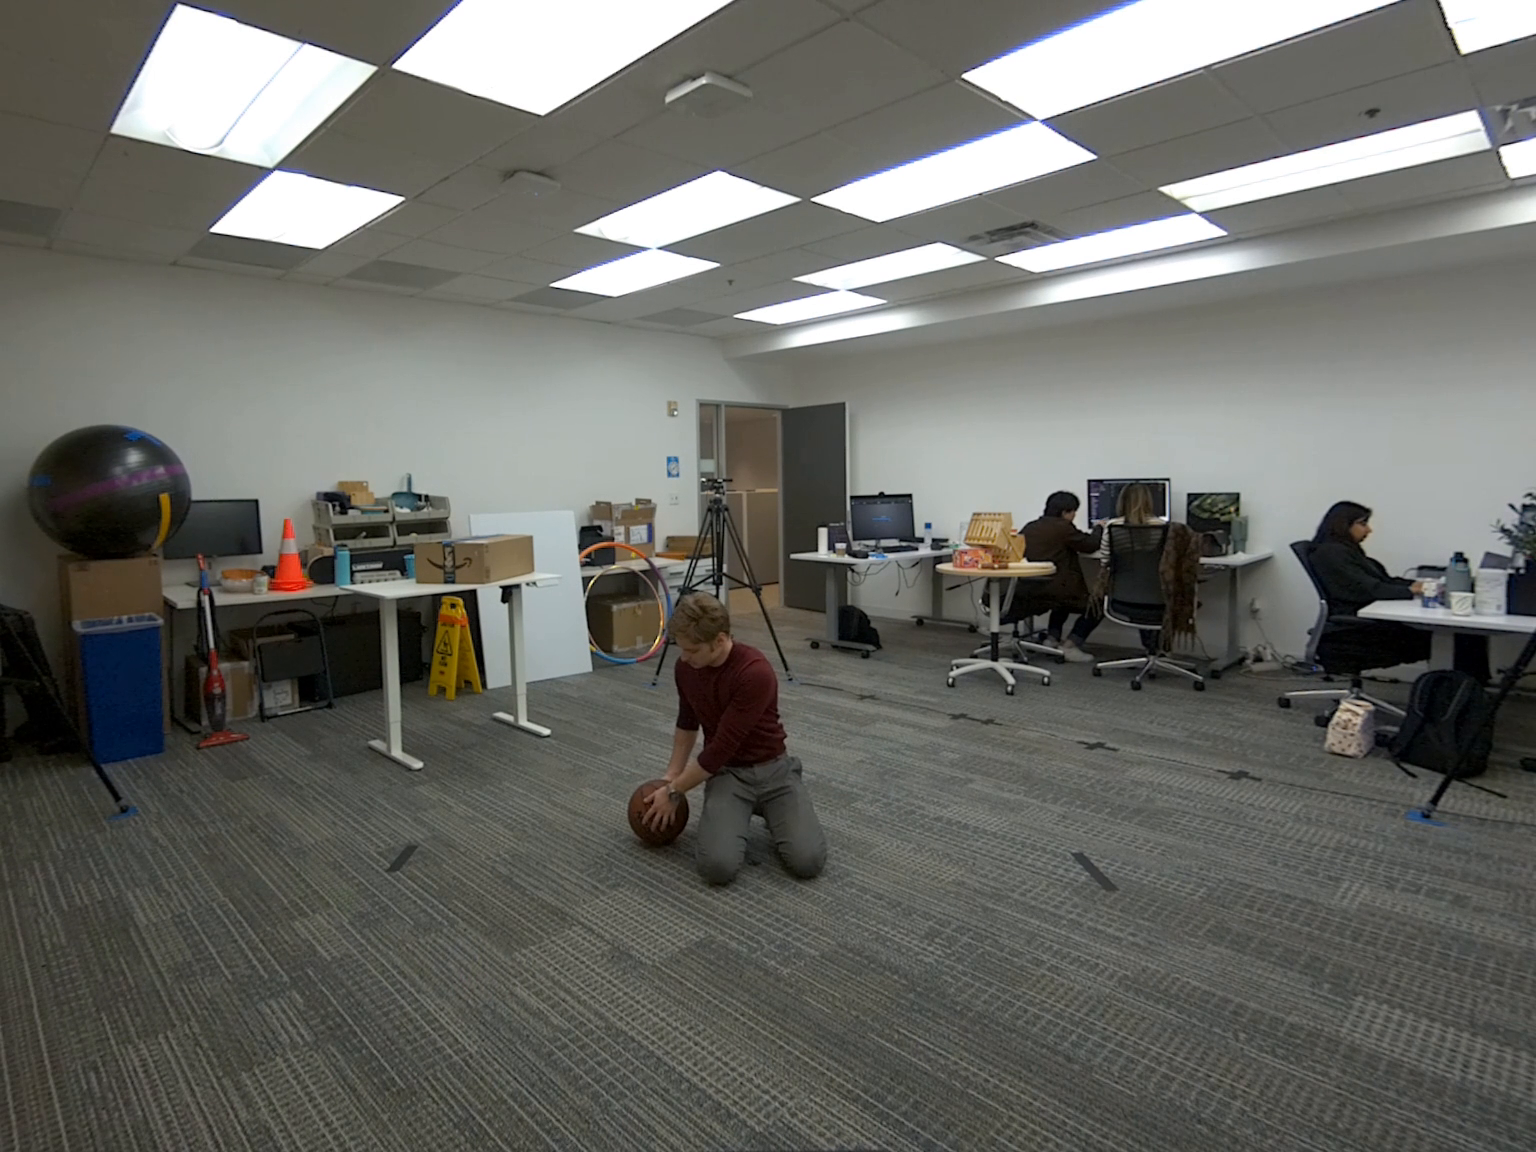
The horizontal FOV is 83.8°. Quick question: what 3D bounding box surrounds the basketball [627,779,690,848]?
[{"bbox_3d":[-0.419,0.905,3.288,0.236,0.235,0.237,-1,5,-2],"label":"basketball"}]
